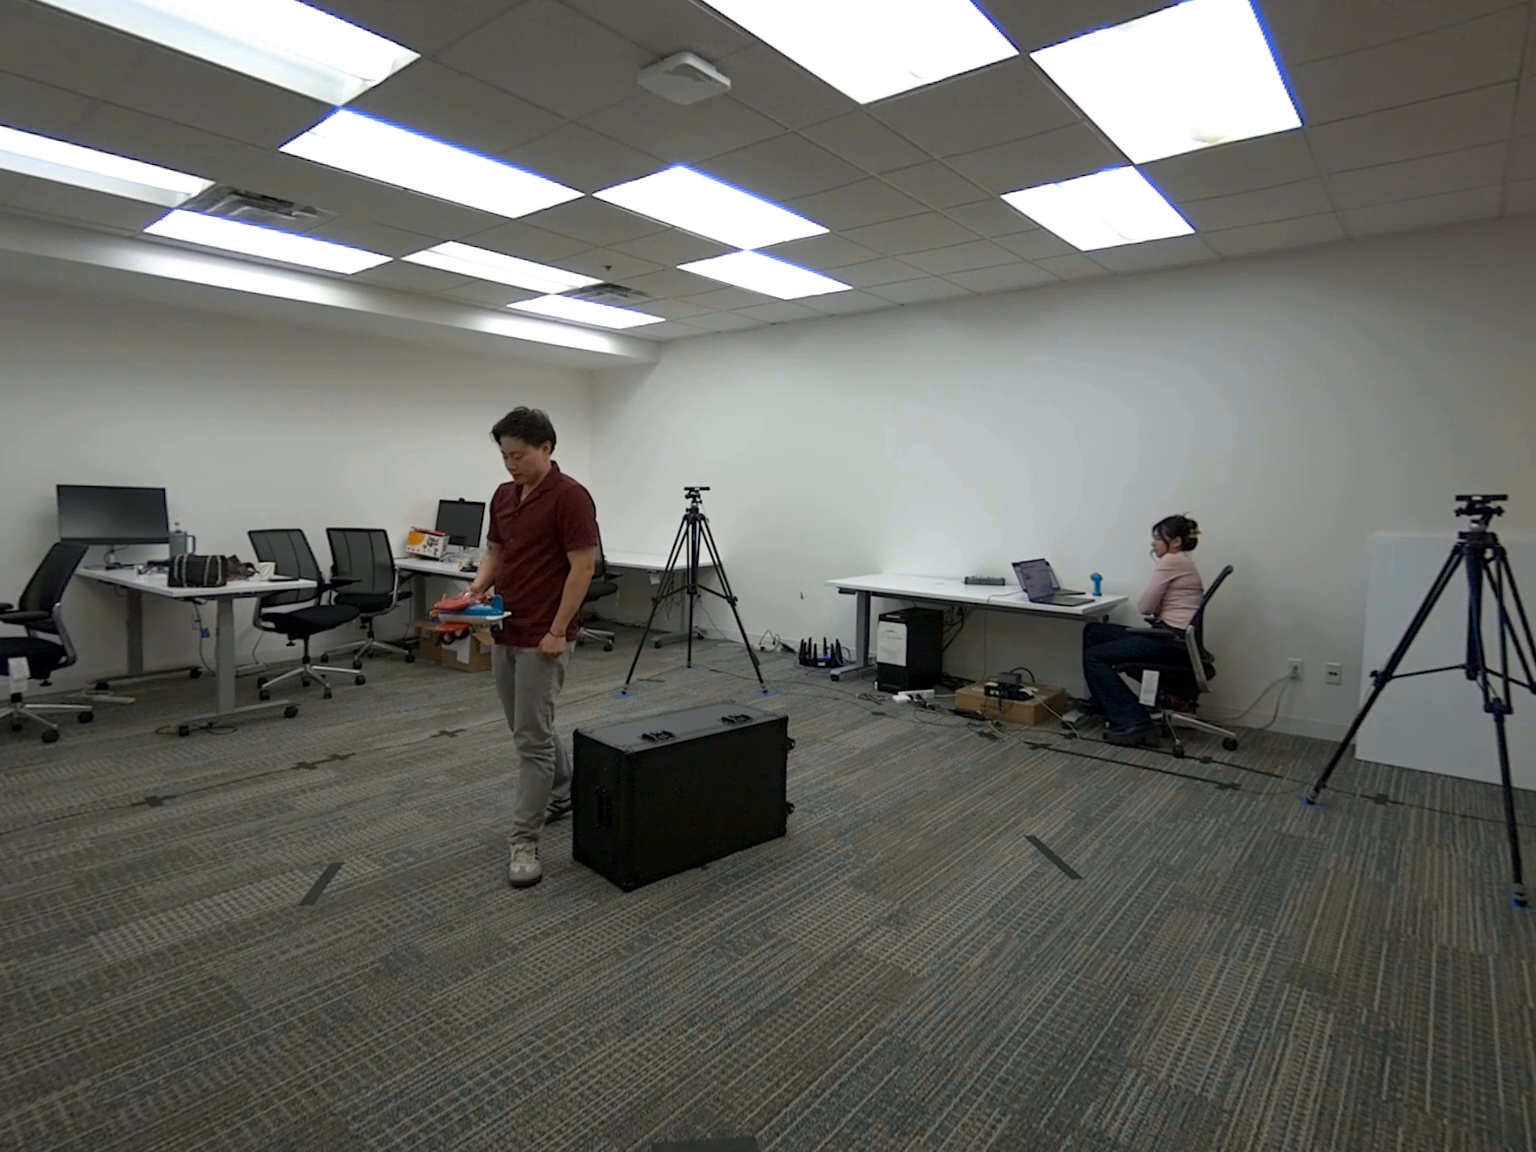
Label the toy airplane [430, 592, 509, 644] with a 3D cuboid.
[{"bbox_3d":[-1.063,0.133,3.006,0.257,0.156,0.255,-13,5,-13],"label":"toy airplane"}]
